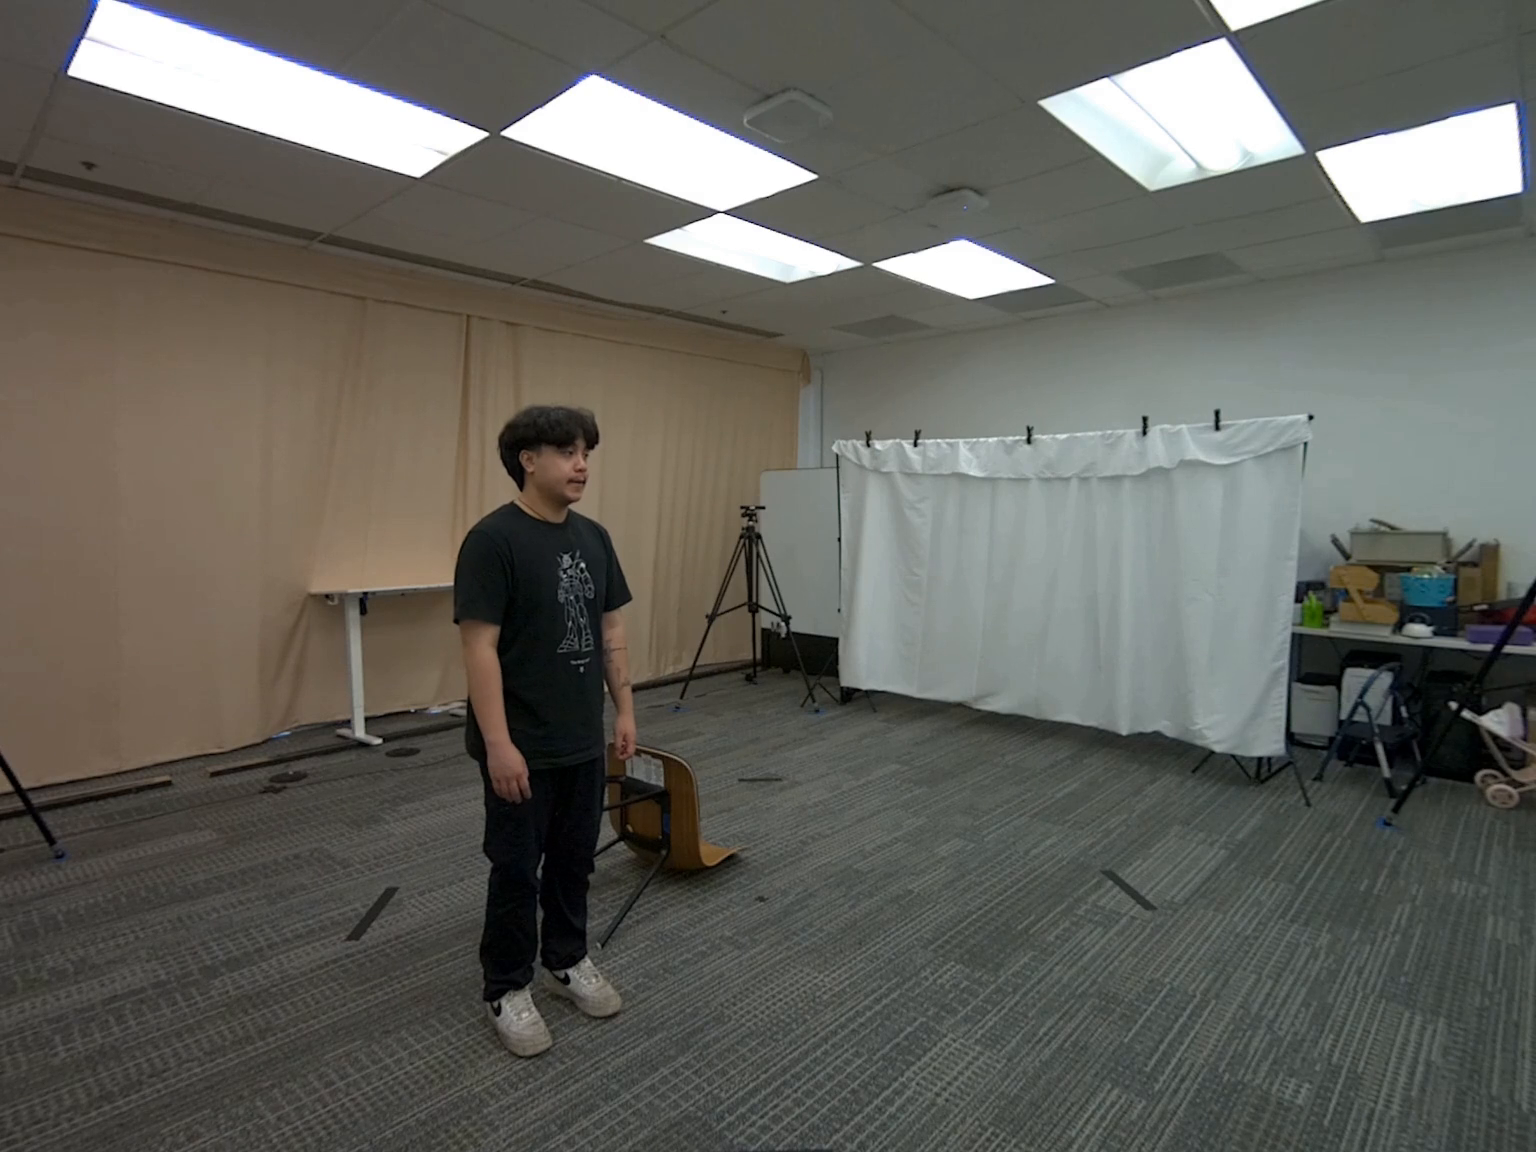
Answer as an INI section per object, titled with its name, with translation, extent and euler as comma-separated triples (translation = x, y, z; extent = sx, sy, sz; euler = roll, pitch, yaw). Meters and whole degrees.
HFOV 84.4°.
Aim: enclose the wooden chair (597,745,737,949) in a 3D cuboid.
[wooden chair]
translation = -0.455, 0.881, 3.086
extent = 0.494, 0.522, 0.851
euler = 3, 4, 39
